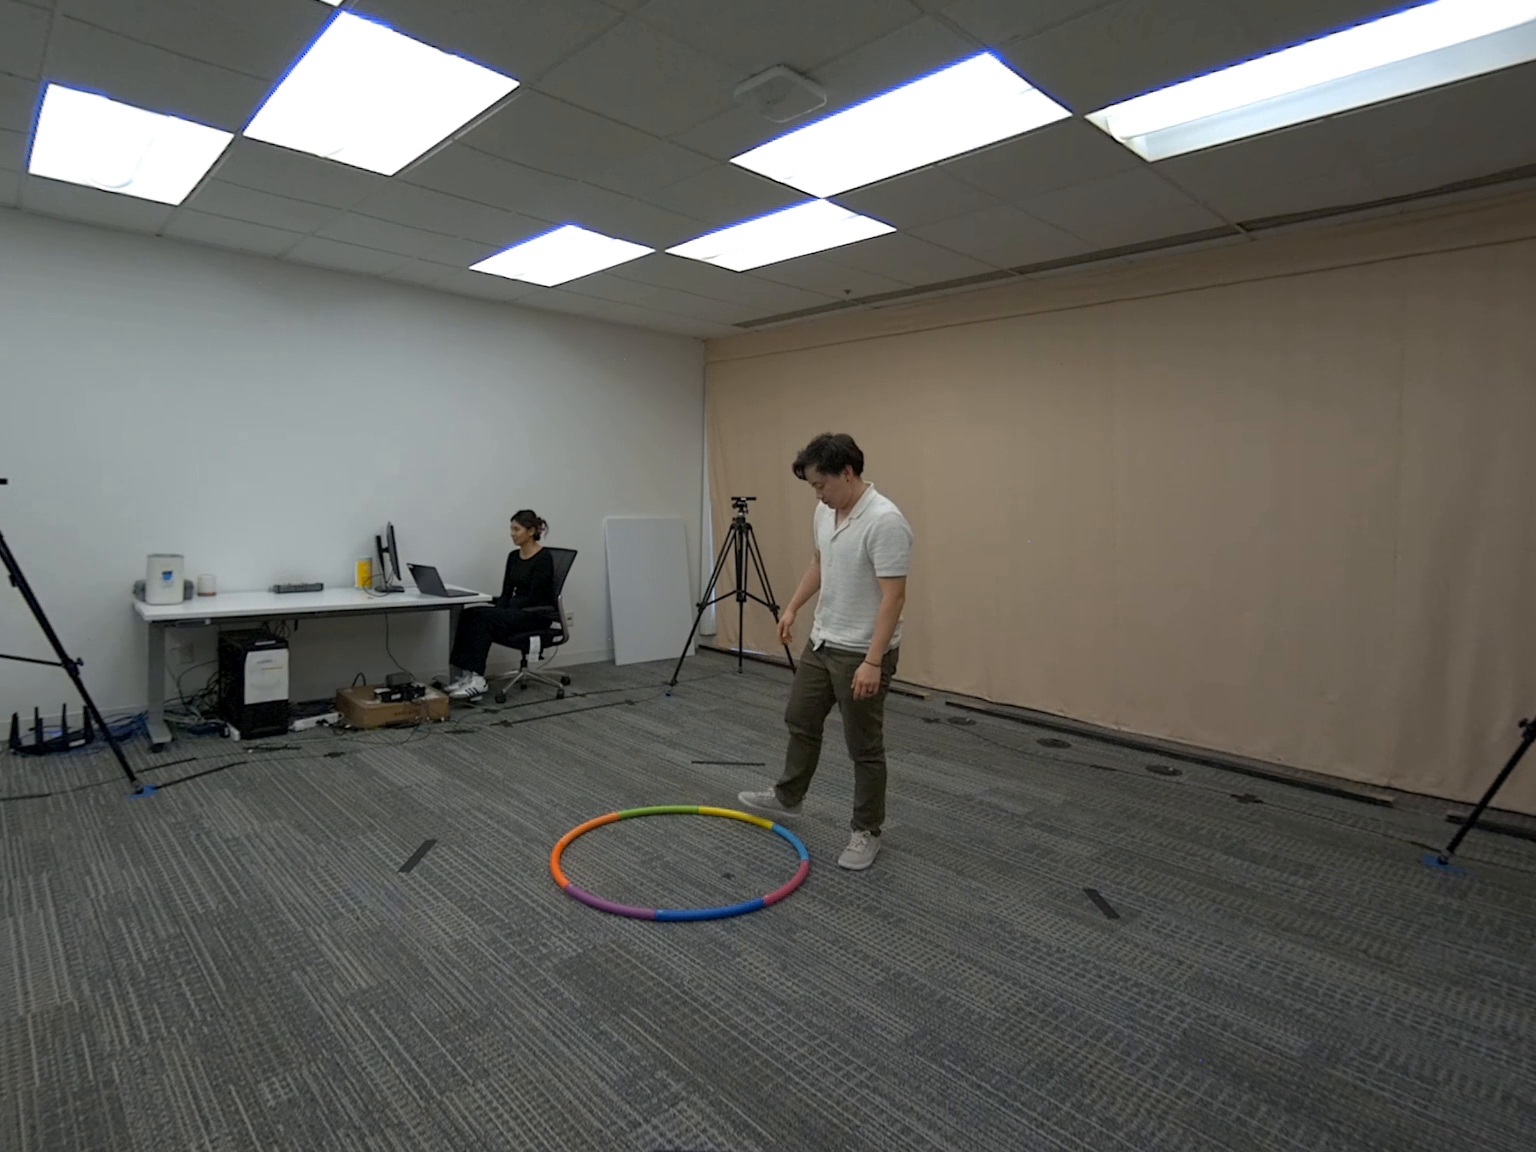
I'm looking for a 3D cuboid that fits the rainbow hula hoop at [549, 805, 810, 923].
[{"bbox_3d":[-0.342,1.062,3.235,0.978,0.035,0.982,1,5,-1],"label":"rainbow hula hoop"}]
